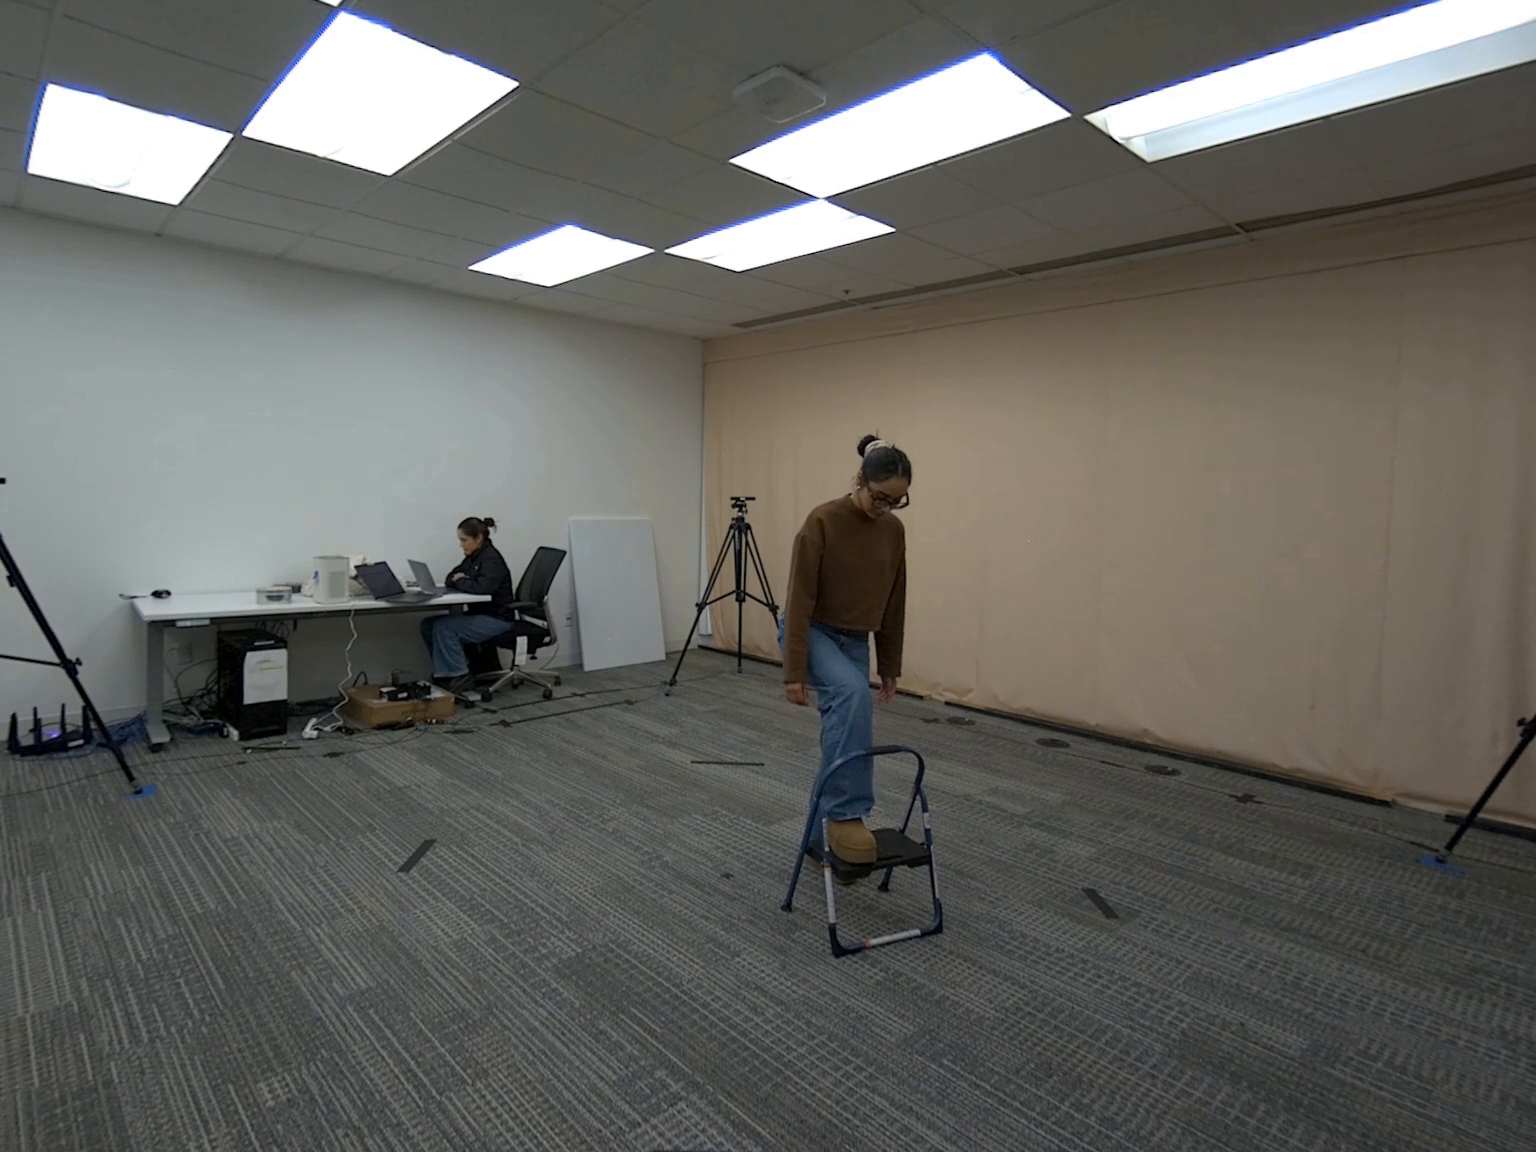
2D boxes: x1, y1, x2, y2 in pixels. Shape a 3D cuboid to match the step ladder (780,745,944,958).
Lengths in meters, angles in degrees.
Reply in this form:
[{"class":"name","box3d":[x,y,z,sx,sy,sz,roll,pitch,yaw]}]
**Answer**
[{"class":"step ladder","box3d":[0.314,0.846,2.782,0.422,0.604,0.357,0,4,-27]}]
